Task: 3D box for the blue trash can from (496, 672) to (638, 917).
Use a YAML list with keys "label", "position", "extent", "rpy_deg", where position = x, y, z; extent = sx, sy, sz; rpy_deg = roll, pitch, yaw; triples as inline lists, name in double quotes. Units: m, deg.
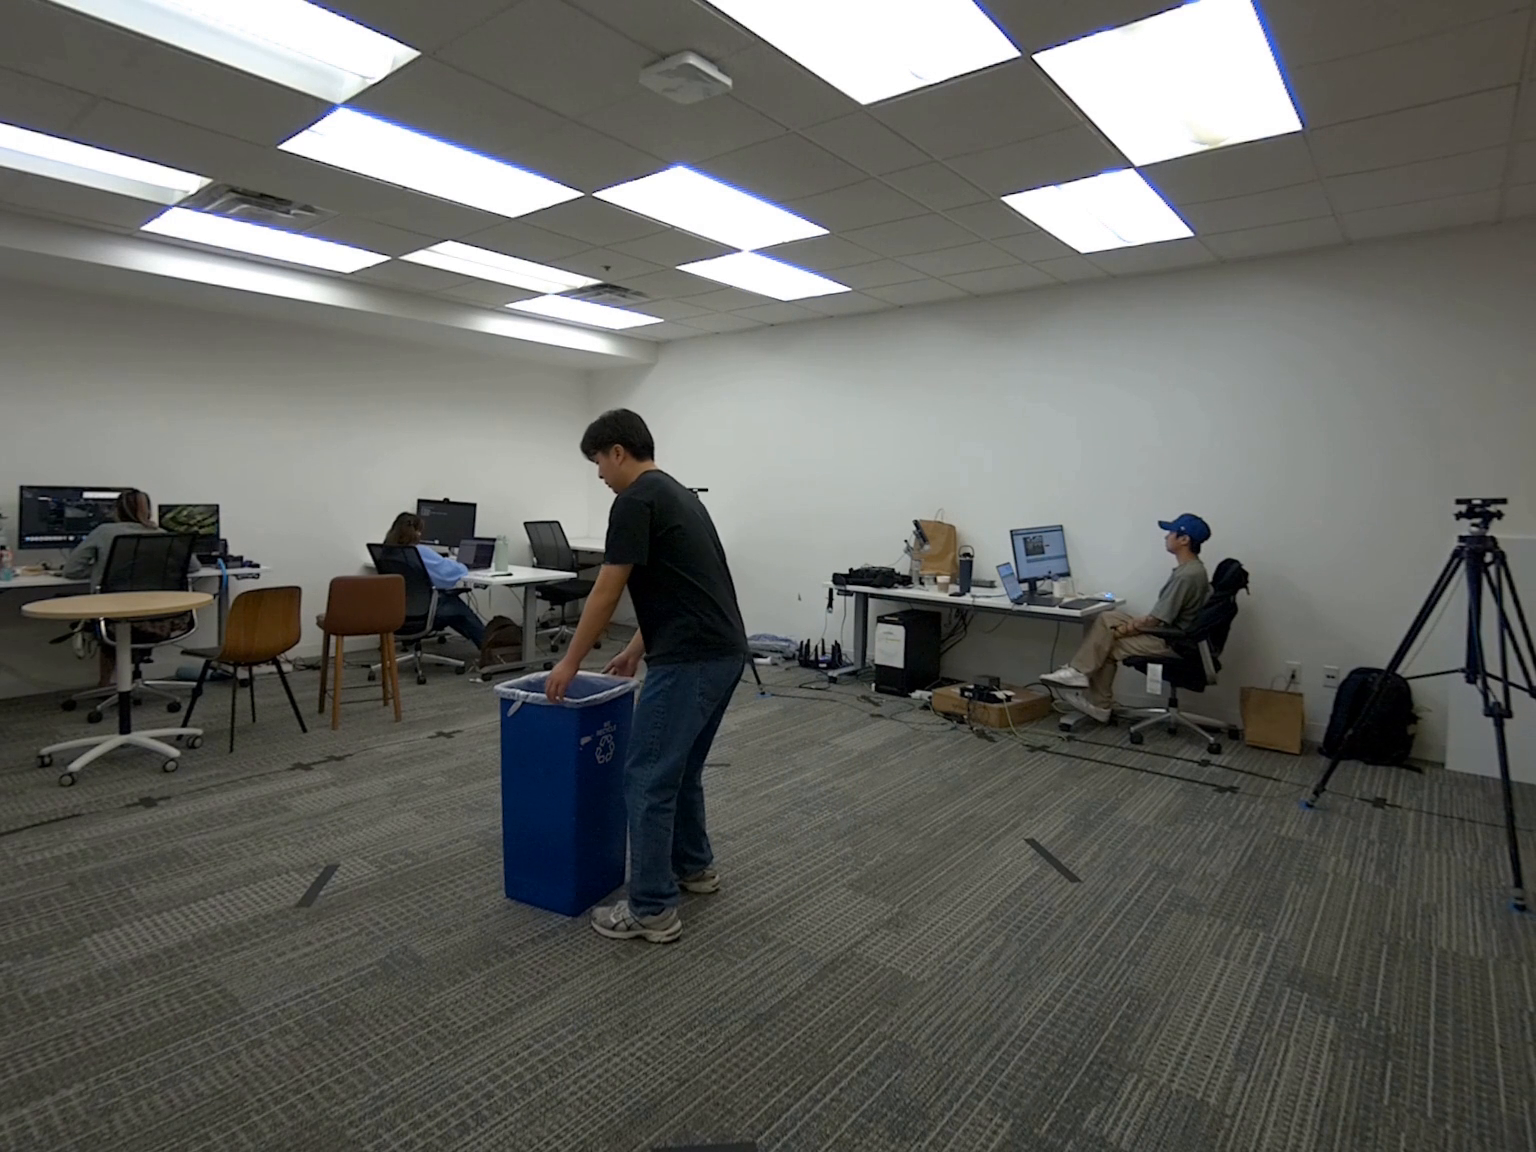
- label: "blue trash can"
  position: [-0.703, 0.721, 2.930]
  extent: [0.388, 0.711, 0.365]
  rpy_deg: [3, 4, 25]
